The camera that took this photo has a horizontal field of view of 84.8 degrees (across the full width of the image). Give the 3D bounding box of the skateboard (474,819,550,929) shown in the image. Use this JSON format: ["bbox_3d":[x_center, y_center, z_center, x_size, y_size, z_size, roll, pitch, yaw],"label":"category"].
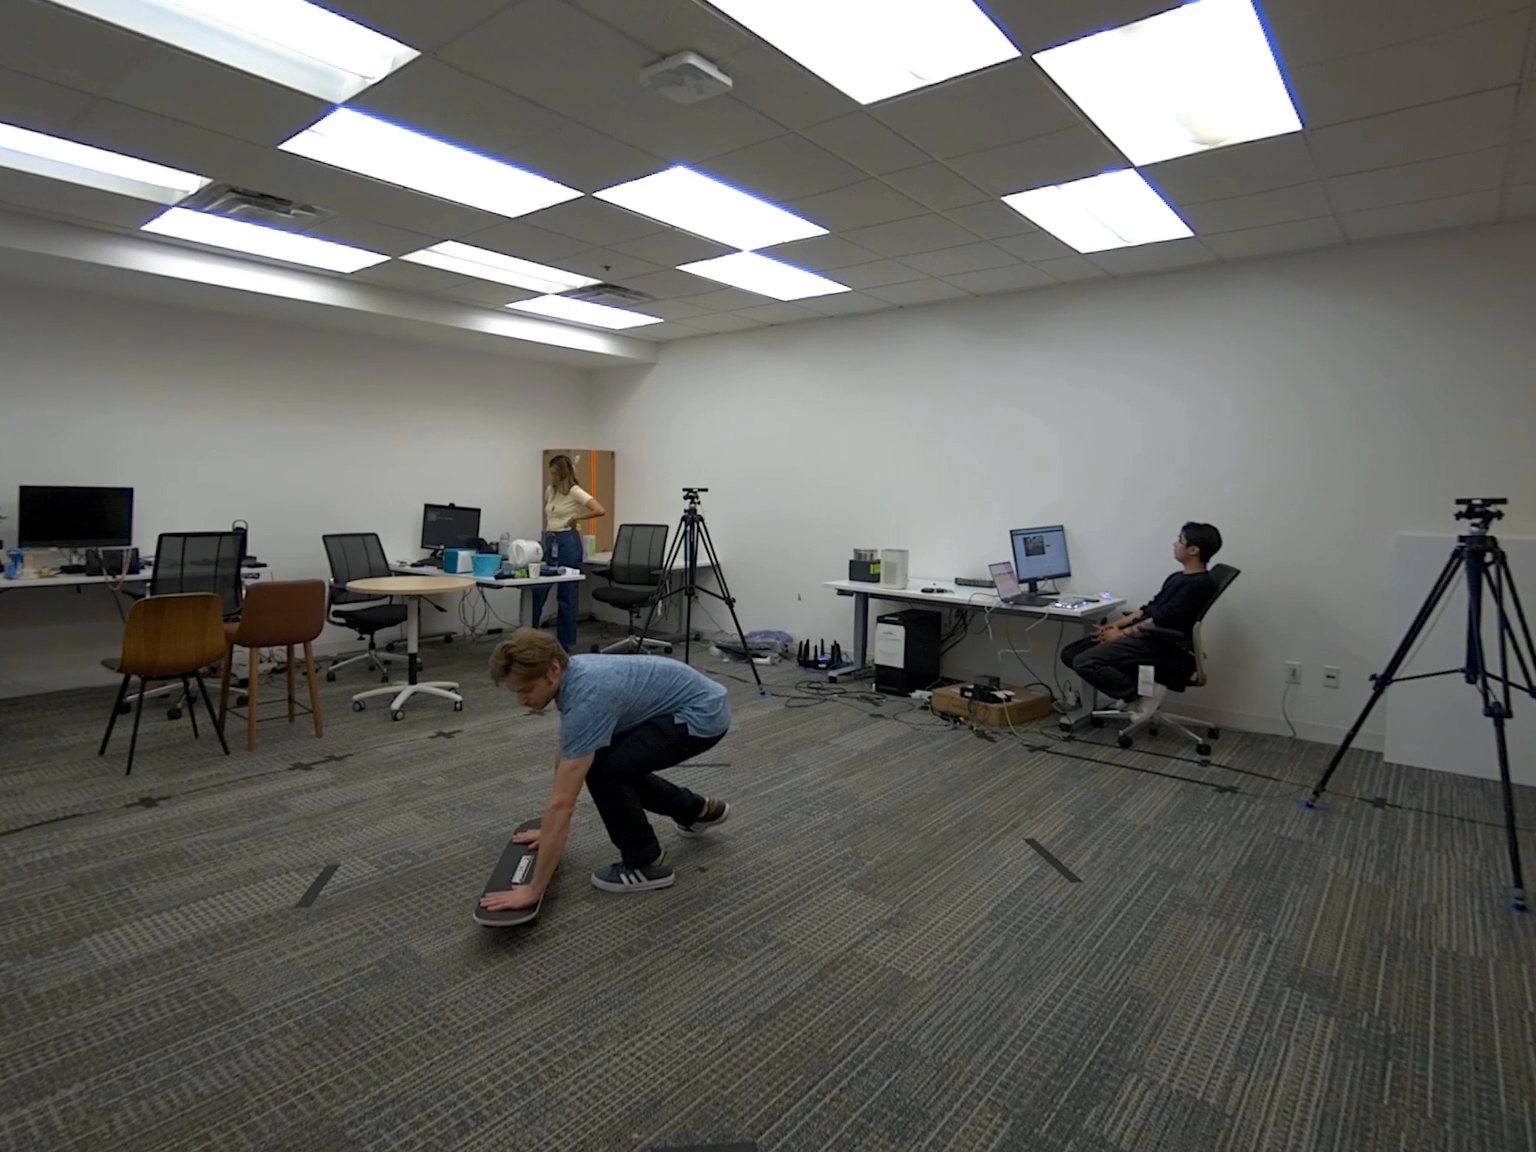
[{"bbox_3d":[-0.840,1.019,2.897,0.193,0.110,0.792,-1,6,-5],"label":"skateboard"}]
